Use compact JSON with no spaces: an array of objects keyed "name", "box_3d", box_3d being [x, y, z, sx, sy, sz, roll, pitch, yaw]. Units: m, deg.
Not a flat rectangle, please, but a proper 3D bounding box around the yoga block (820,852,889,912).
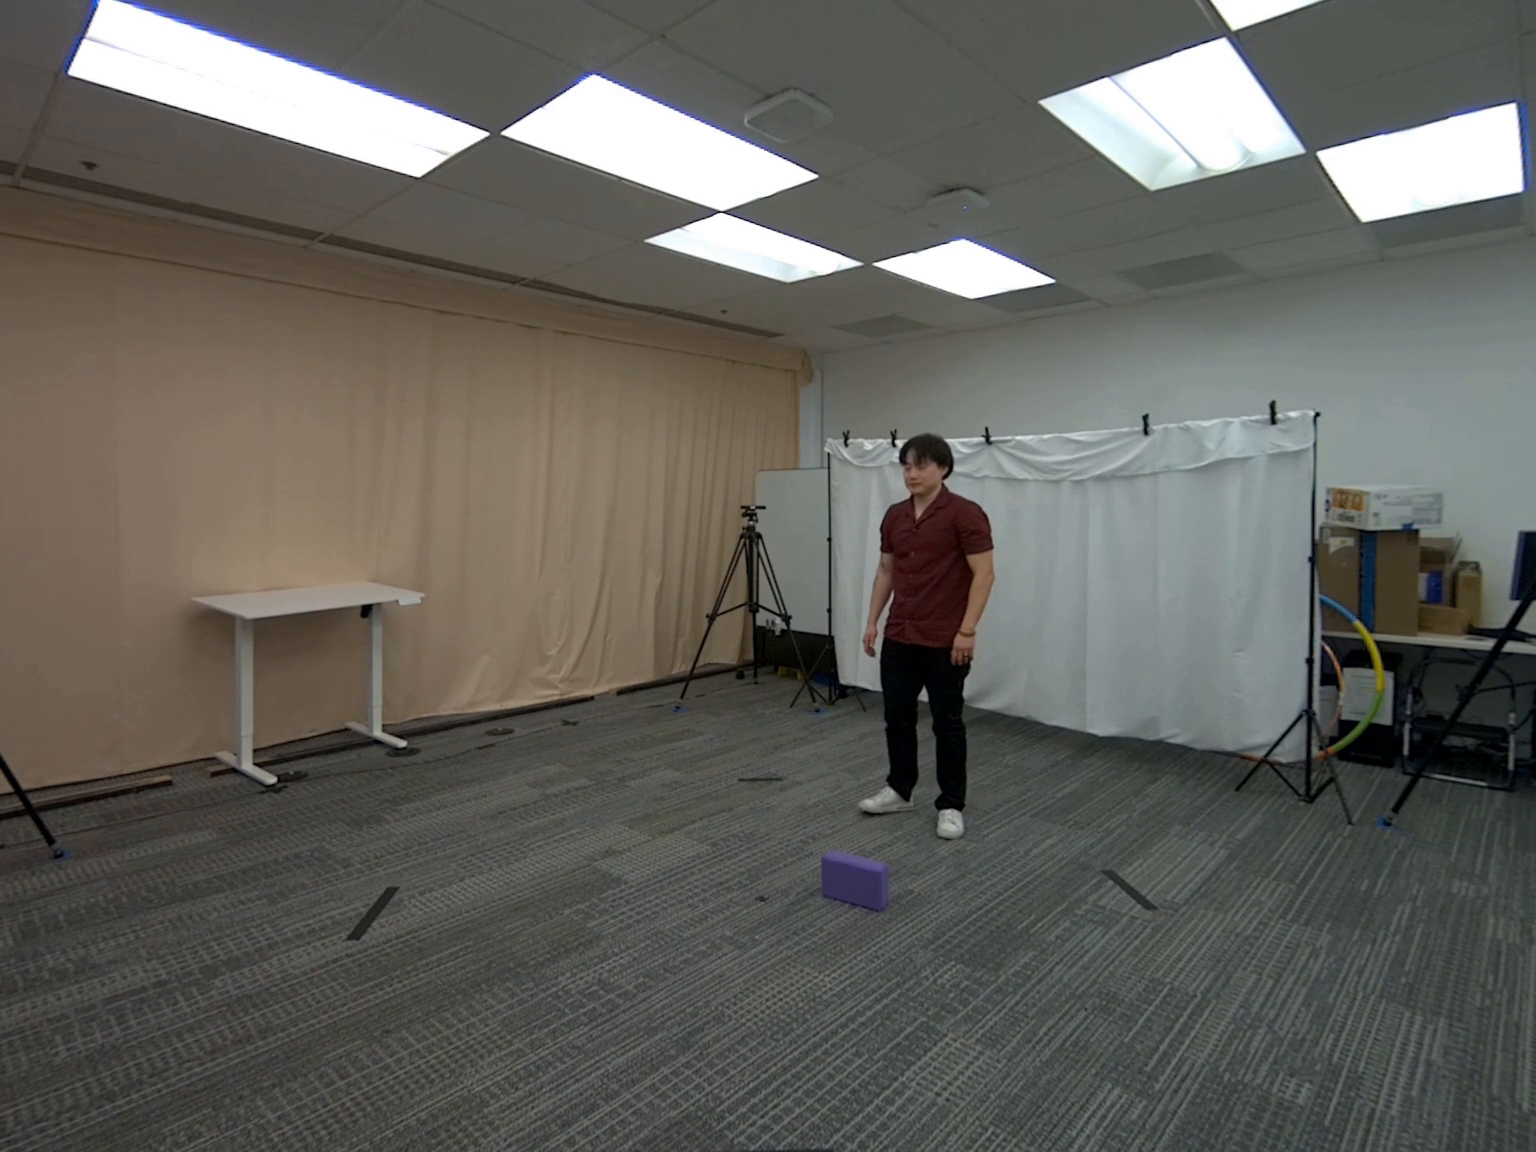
[{"name":"yoga block","box_3d":[0.310,1.067,2.964,0.236,0.149,0.074,3,4,33]}]
